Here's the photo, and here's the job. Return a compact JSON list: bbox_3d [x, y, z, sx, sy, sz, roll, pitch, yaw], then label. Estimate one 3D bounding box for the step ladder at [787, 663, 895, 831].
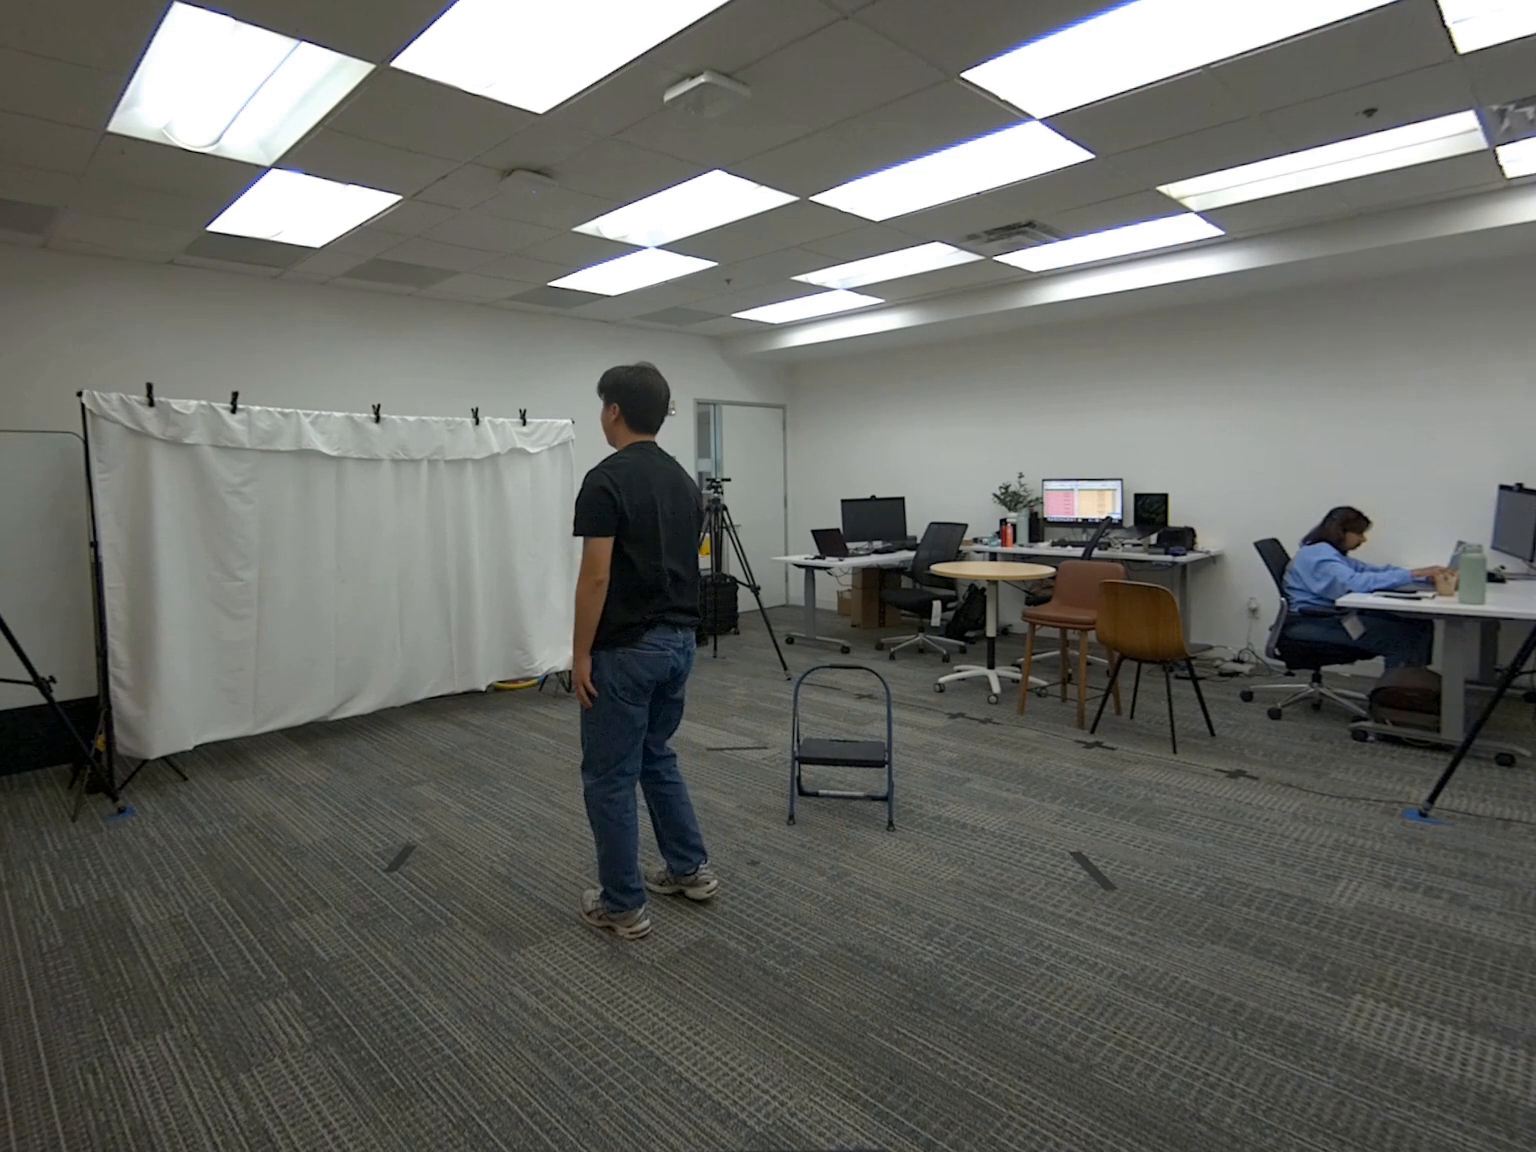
[{"bbox_3d":[0.312,0.684,3.552,0.435,0.604,0.347,0,4,9],"label":"step ladder"}]
